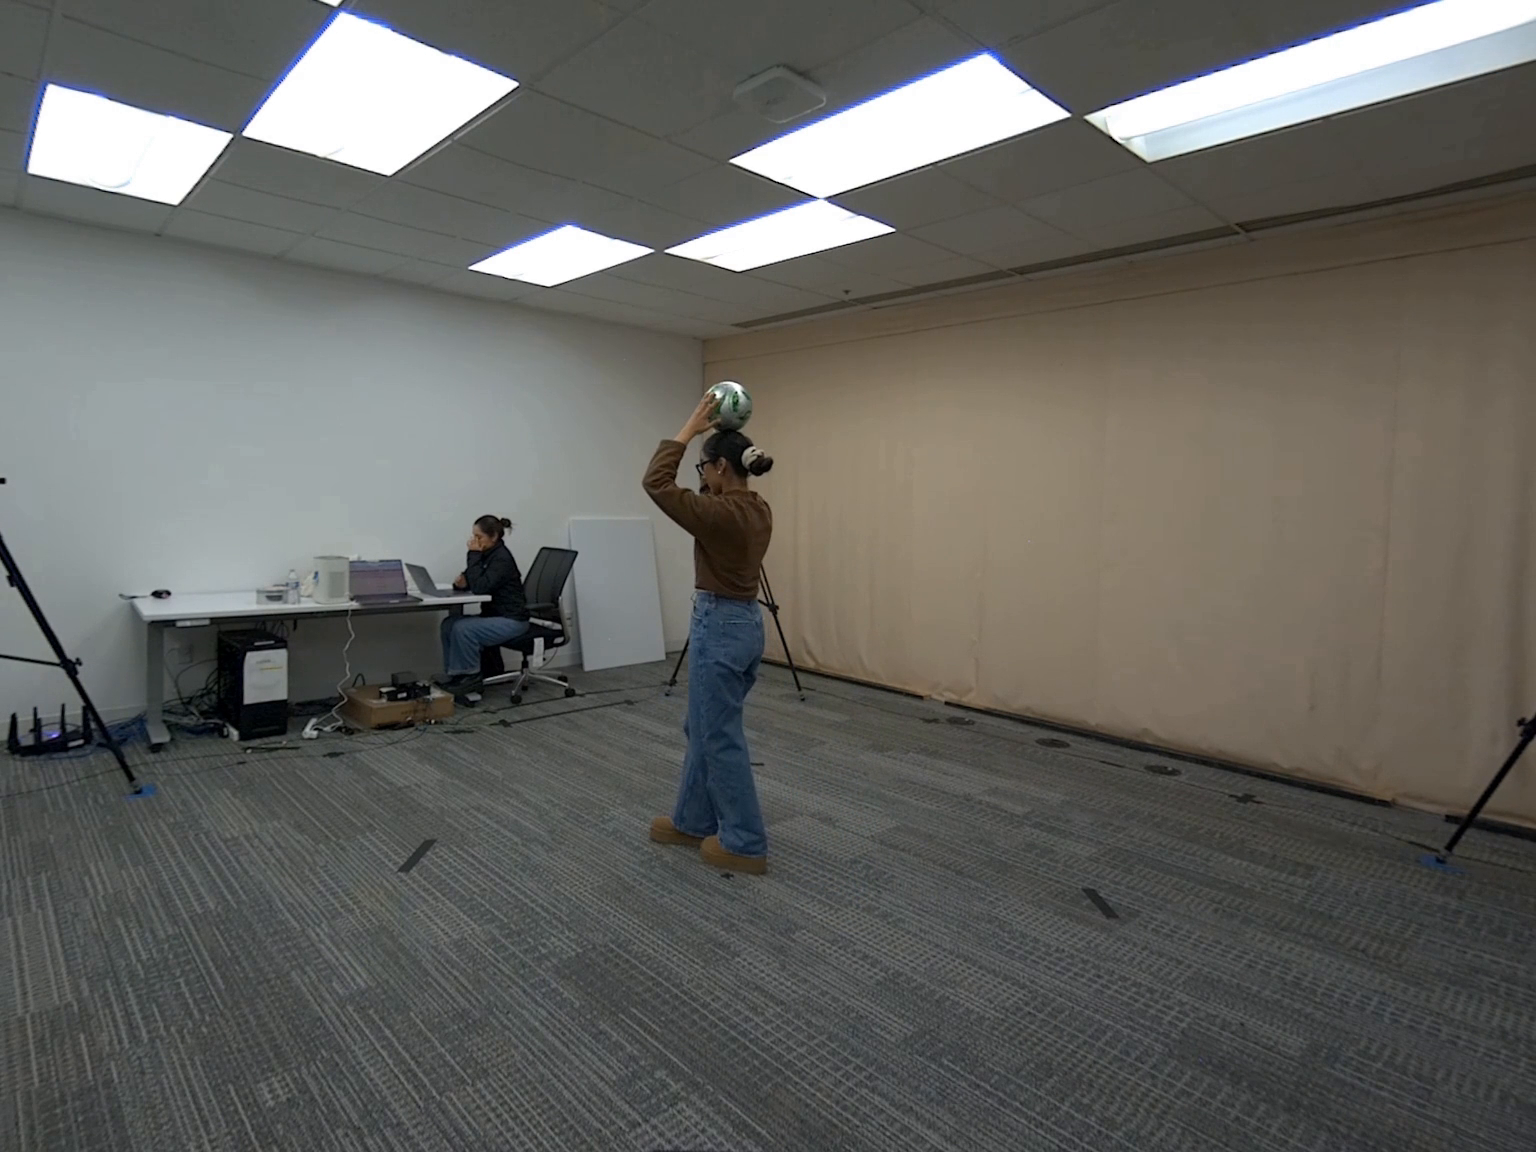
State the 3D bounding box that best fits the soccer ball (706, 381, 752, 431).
[{"bbox_3d":[-0.157,-0.628,3.132,0.187,0.187,0.188,1,4,-1],"label":"soccer ball"}]
